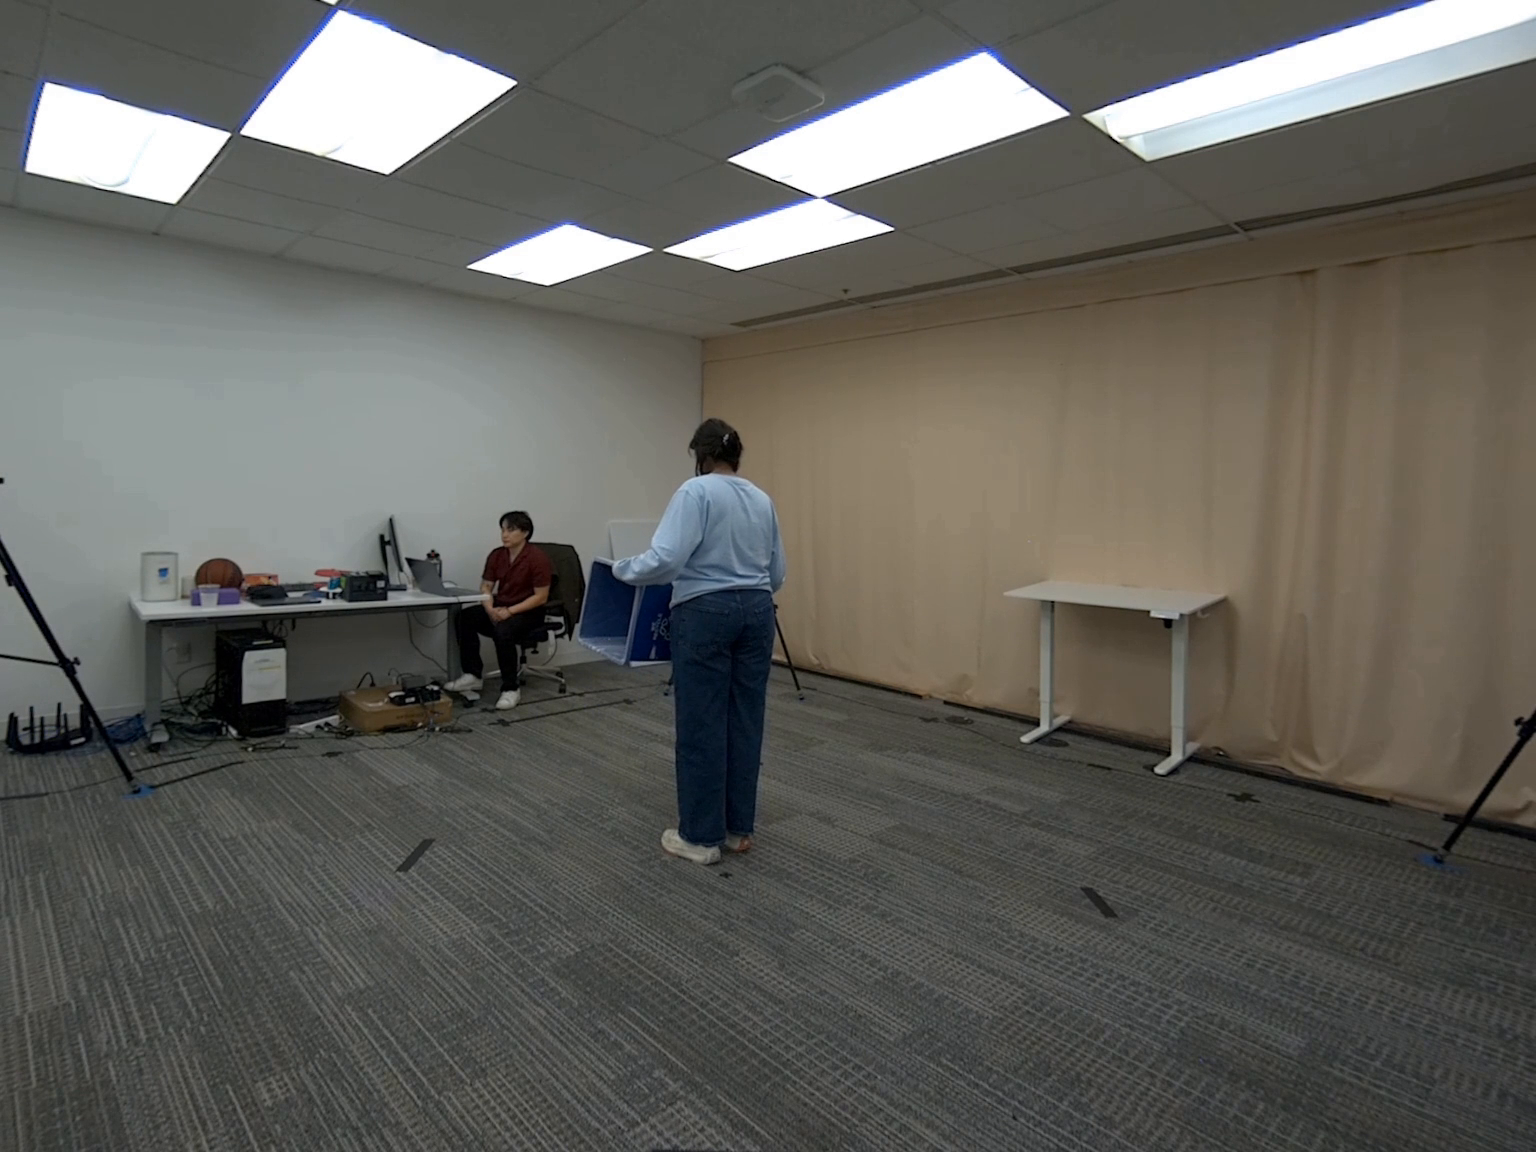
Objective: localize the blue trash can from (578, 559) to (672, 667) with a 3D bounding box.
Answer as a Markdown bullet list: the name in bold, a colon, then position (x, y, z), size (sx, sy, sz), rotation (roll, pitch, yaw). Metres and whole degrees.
- **blue trash can**: position (-0.381, 0.156, 3.549), size (0.695, 0.373, 0.389), rotation (6, 6, -43)
